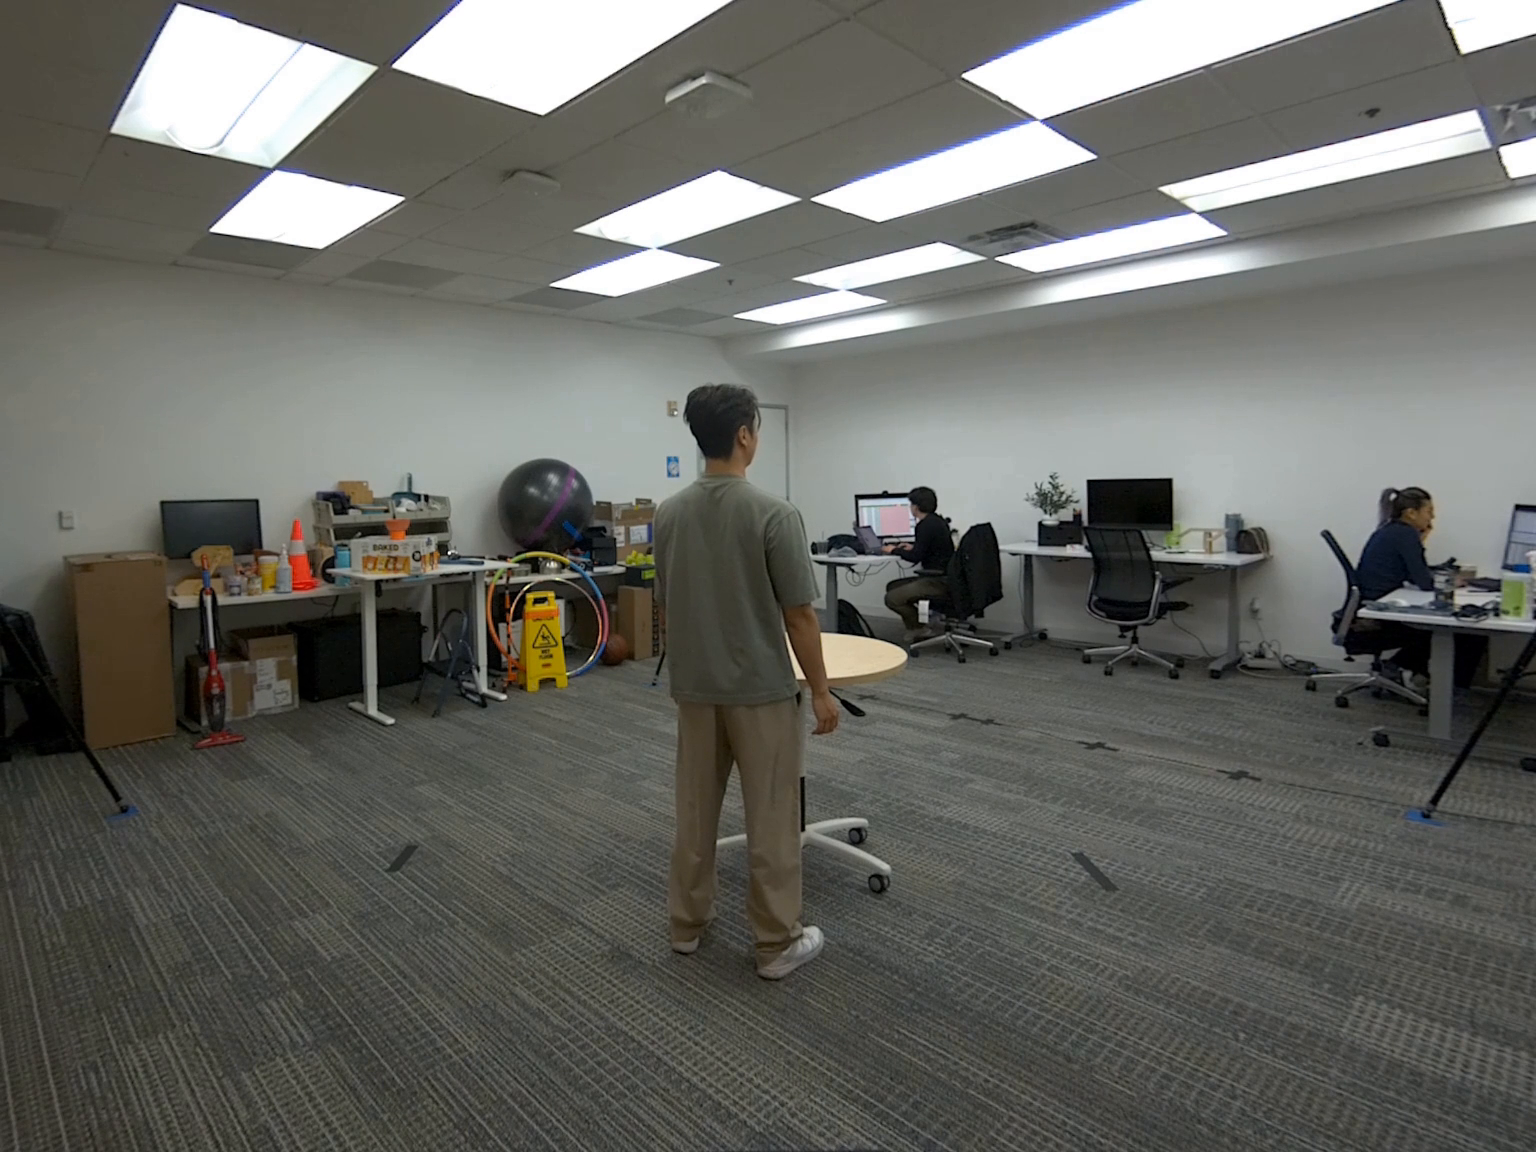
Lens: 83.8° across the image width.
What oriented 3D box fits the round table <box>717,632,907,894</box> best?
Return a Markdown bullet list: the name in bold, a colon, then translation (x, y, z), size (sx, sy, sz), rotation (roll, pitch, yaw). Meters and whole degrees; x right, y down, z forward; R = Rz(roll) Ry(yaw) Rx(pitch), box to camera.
- **round table**: translation (0.096, 0.659, 3.047), size (0.784, 0.783, 0.789), rotation (-1, 5, -2)
